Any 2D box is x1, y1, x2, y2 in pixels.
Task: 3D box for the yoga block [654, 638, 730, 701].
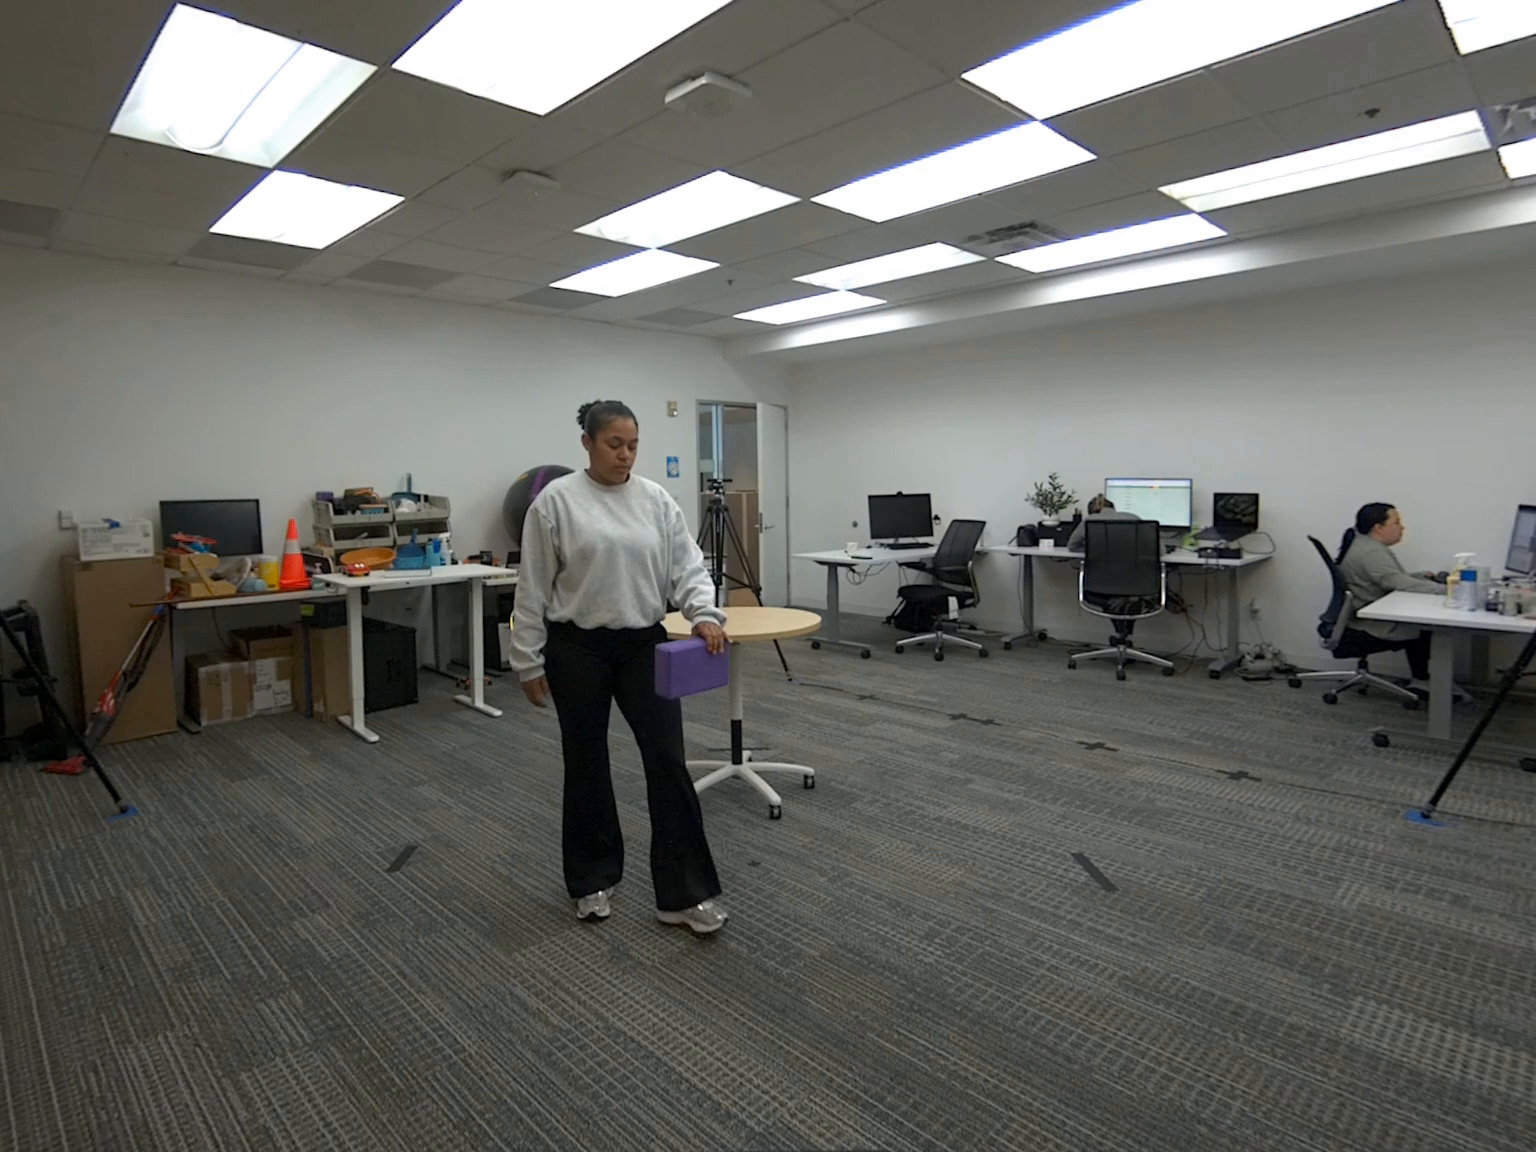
[{"bbox_3d":[-0.220,0.265,2.493,0.223,0.148,0.079,-7,11,-42],"label":"yoga block"}]
